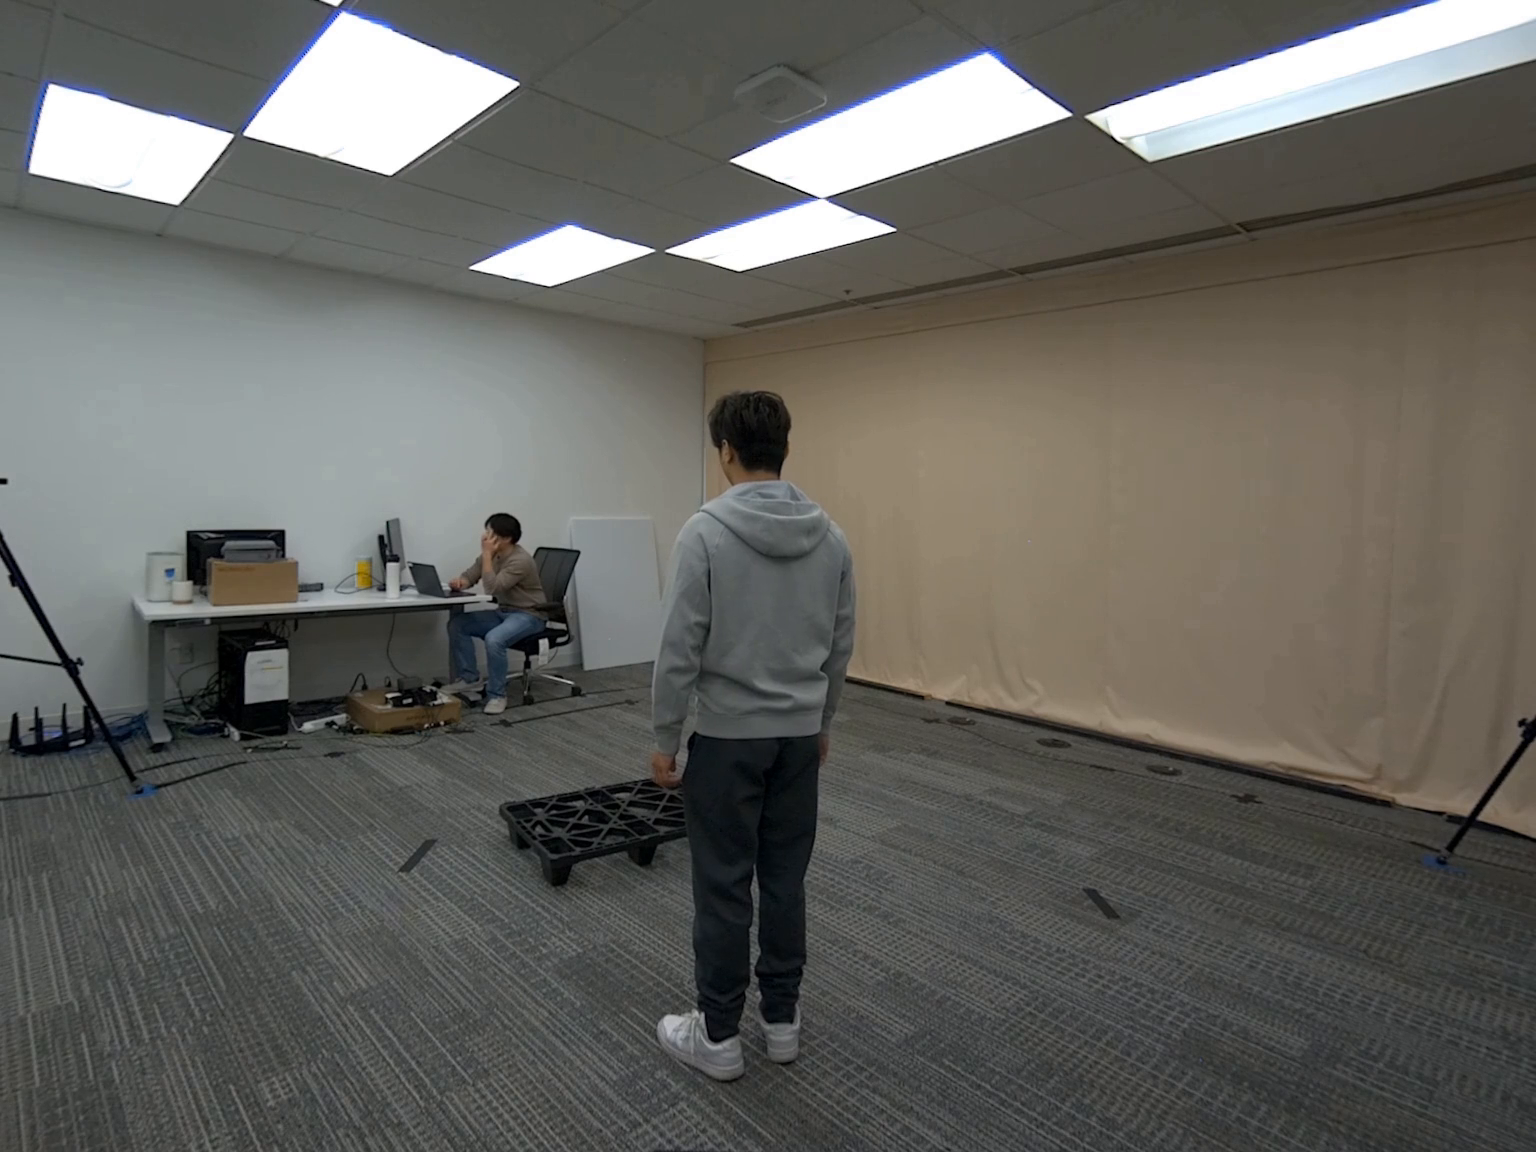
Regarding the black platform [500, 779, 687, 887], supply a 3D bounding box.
[{"bbox_3d":[-0.602,1.009,3.373,0.788,0.143,0.620,-2,6,-35],"label":"black platform"}]
